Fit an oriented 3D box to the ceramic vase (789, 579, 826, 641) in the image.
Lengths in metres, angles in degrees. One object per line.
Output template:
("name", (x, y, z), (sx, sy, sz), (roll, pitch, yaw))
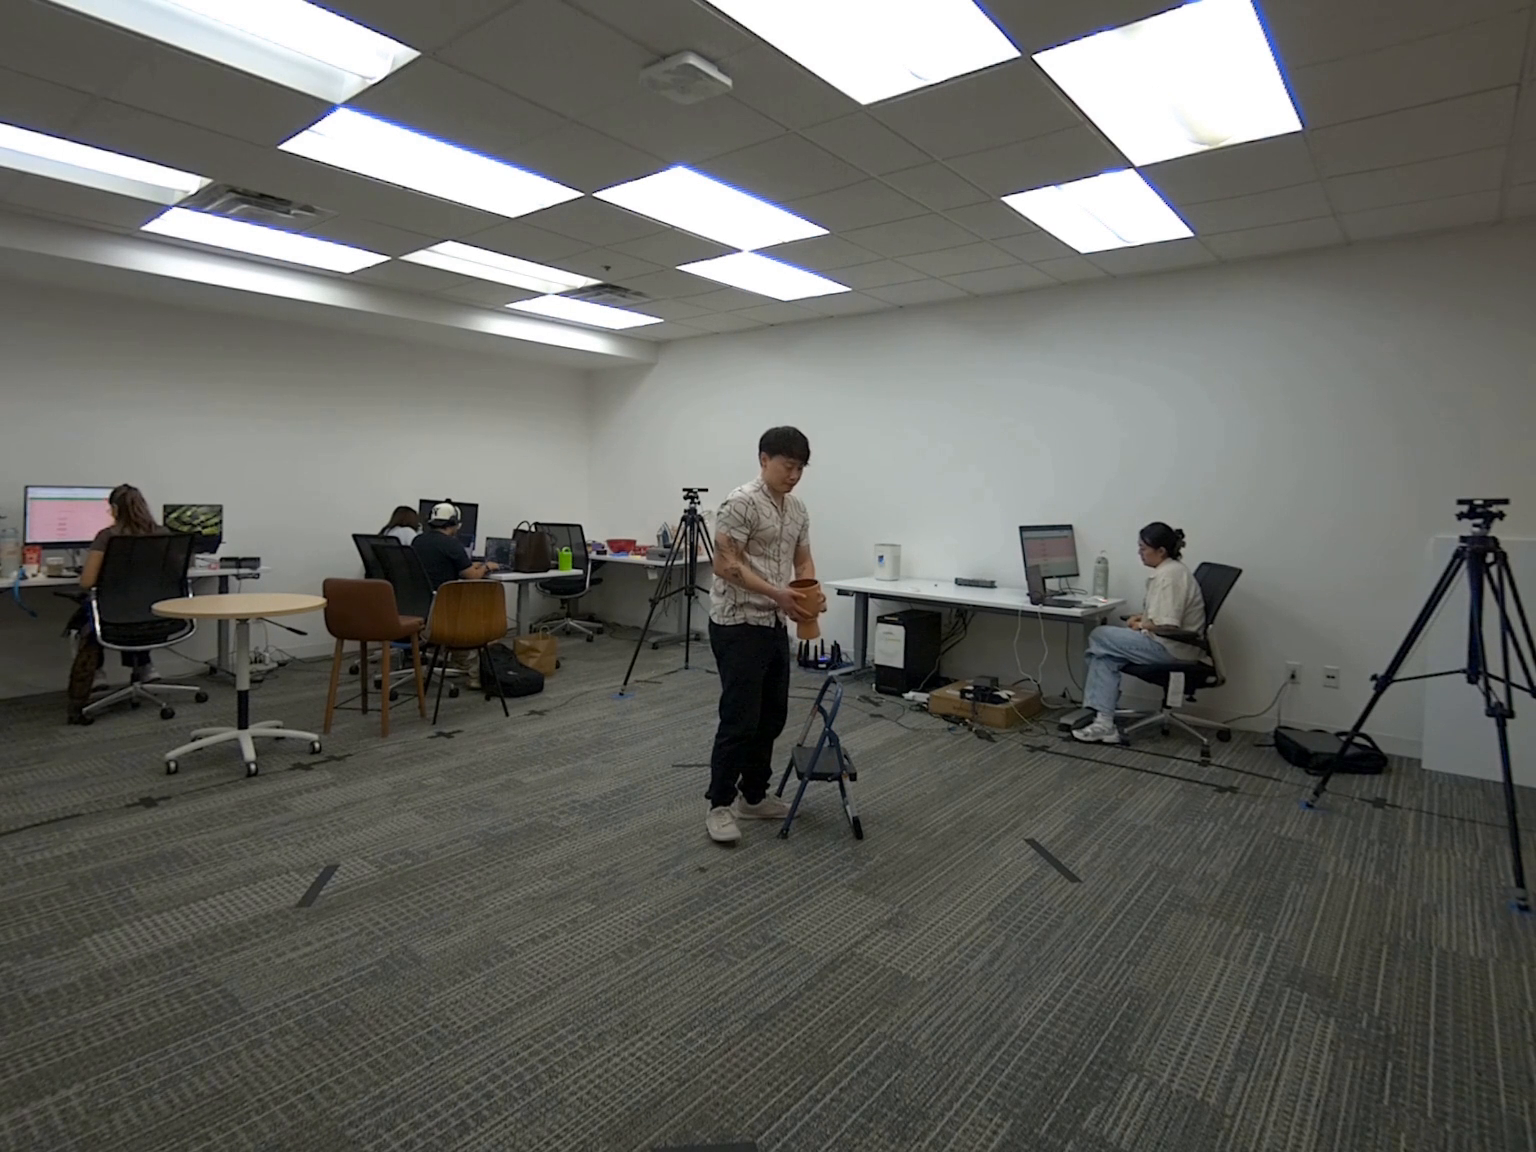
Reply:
("ceramic vase", (0.137, 0.135, 3.388), (0.133, 0.216, 0.163), (-11, 15, -15))
